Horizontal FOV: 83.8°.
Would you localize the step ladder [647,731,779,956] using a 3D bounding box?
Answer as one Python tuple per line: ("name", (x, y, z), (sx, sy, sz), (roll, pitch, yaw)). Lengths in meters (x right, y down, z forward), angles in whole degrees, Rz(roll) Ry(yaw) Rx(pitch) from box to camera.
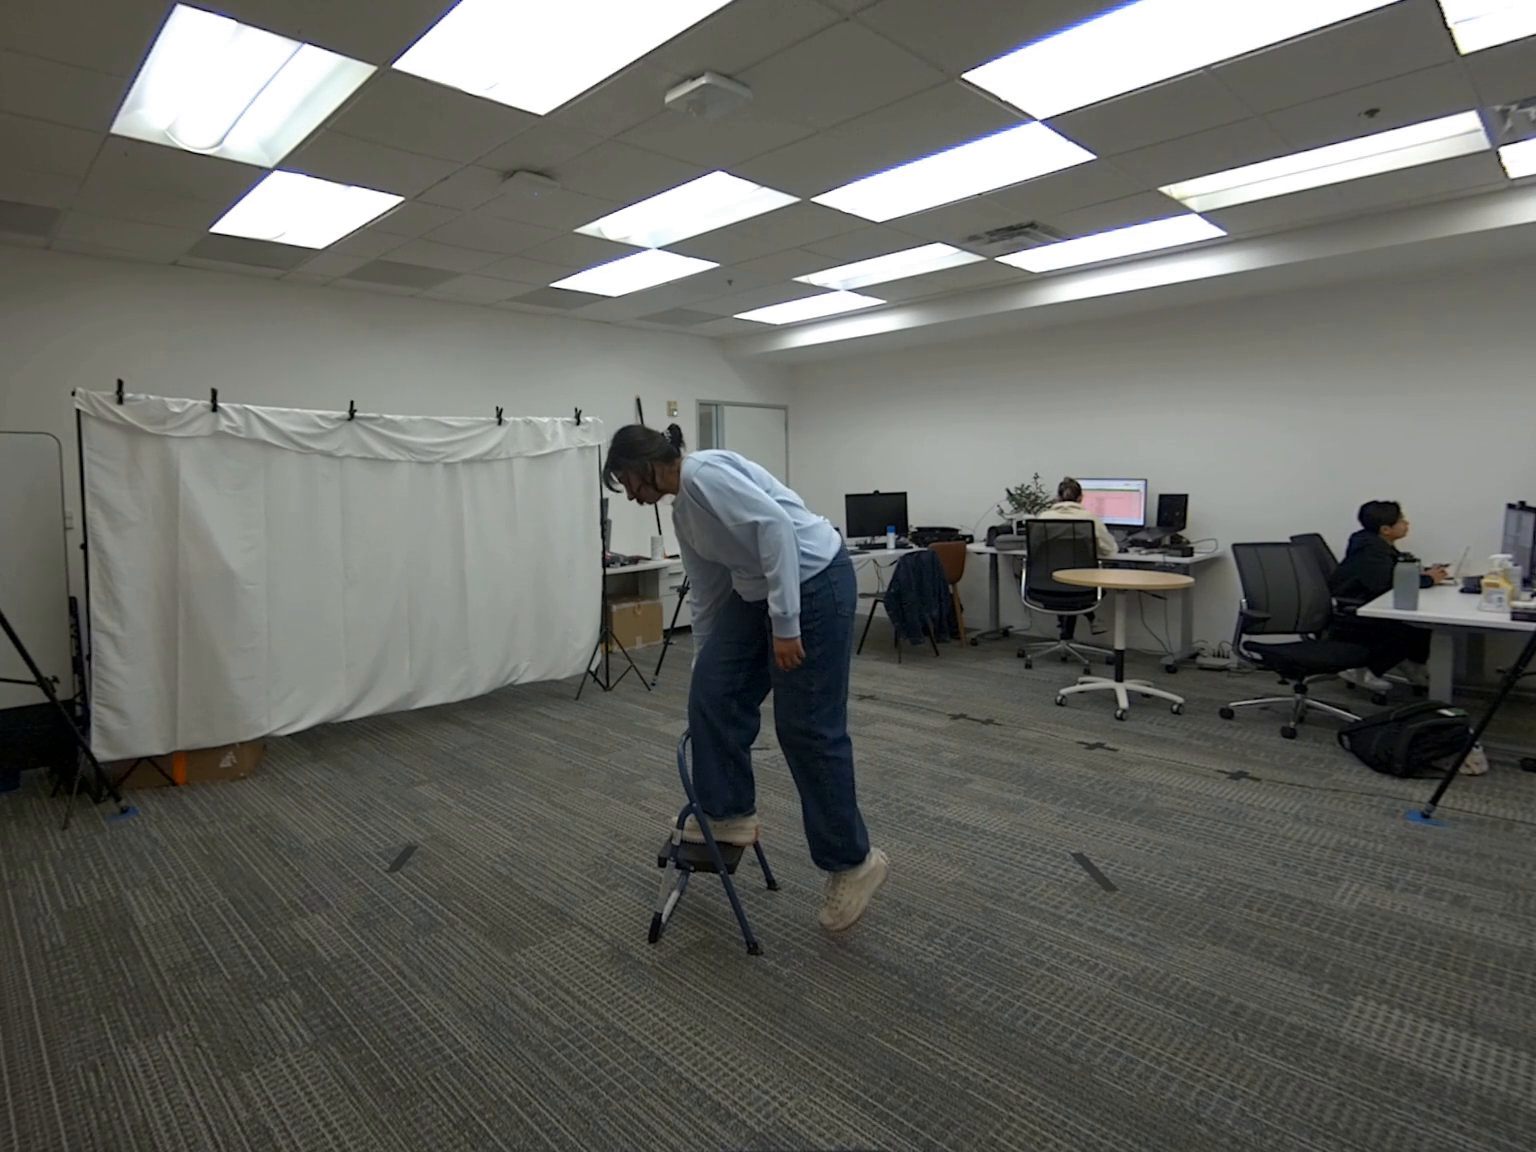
("step ladder", (-0.167, 0.790, 2.735), (0.353, 0.604, 0.428), (-1, 4, 10))
